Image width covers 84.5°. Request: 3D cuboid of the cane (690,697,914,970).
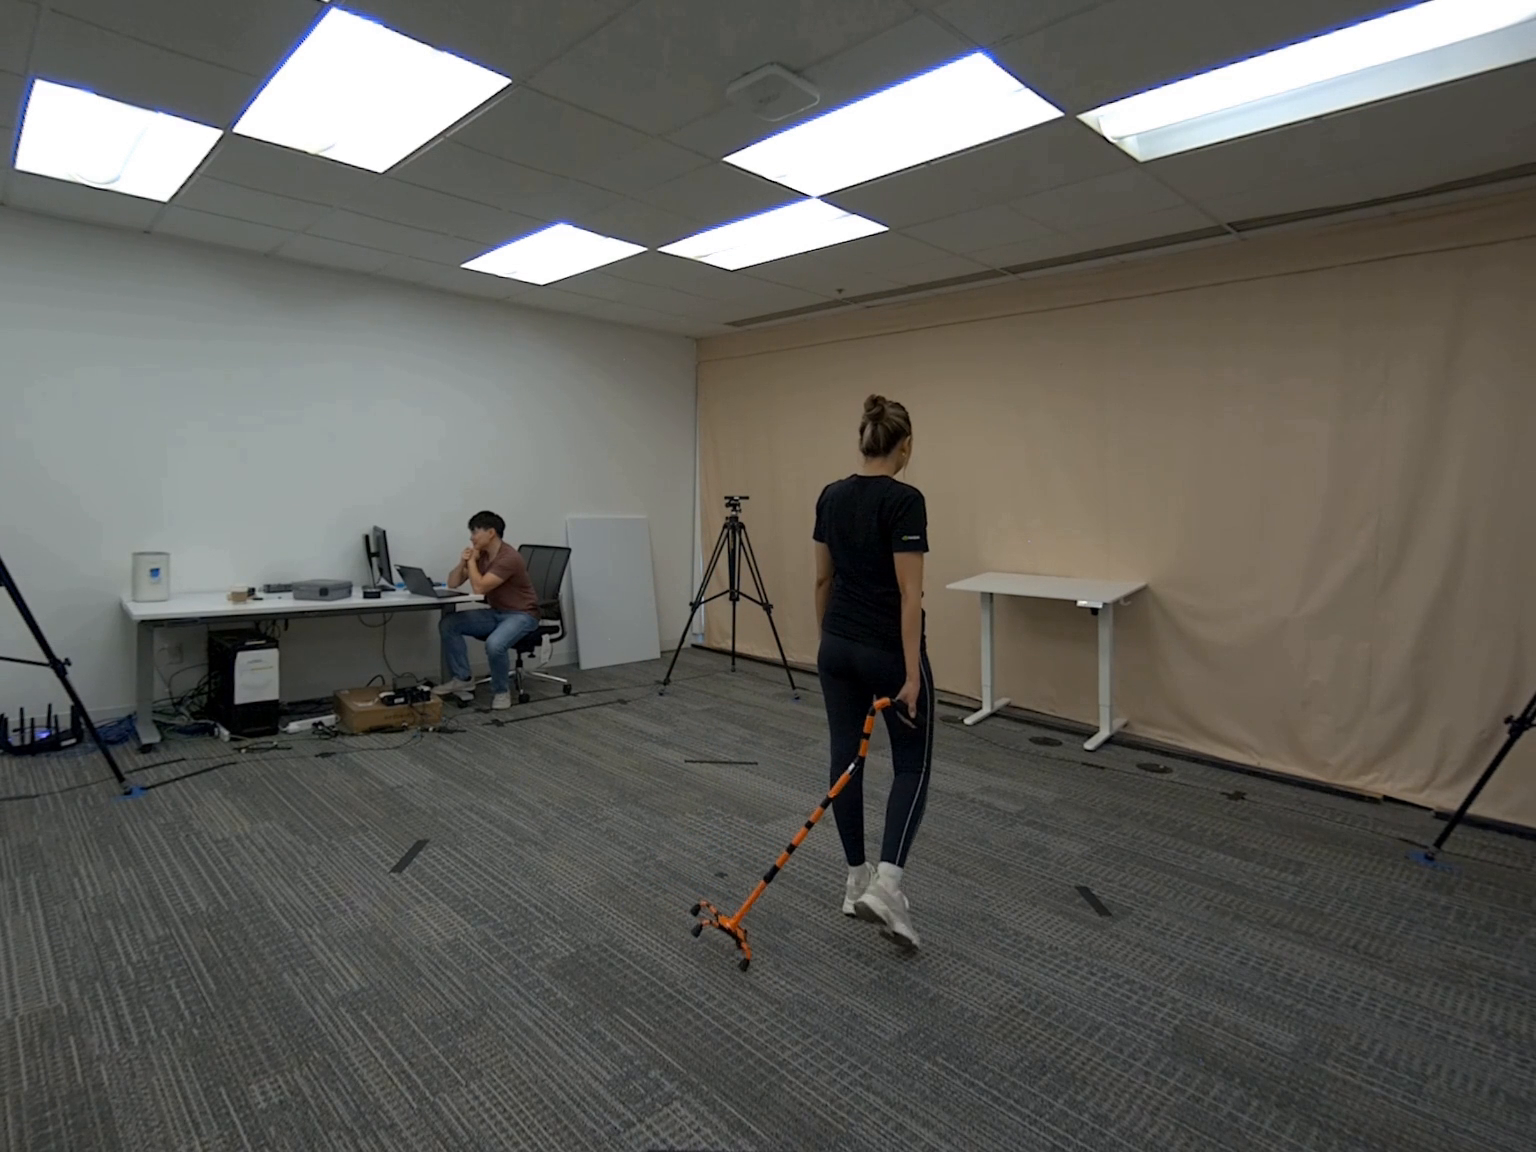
[{"bbox_3d":[0.117,0.739,2.519,0.205,0.908,0.152,37,2,-5],"label":"cane"}]
